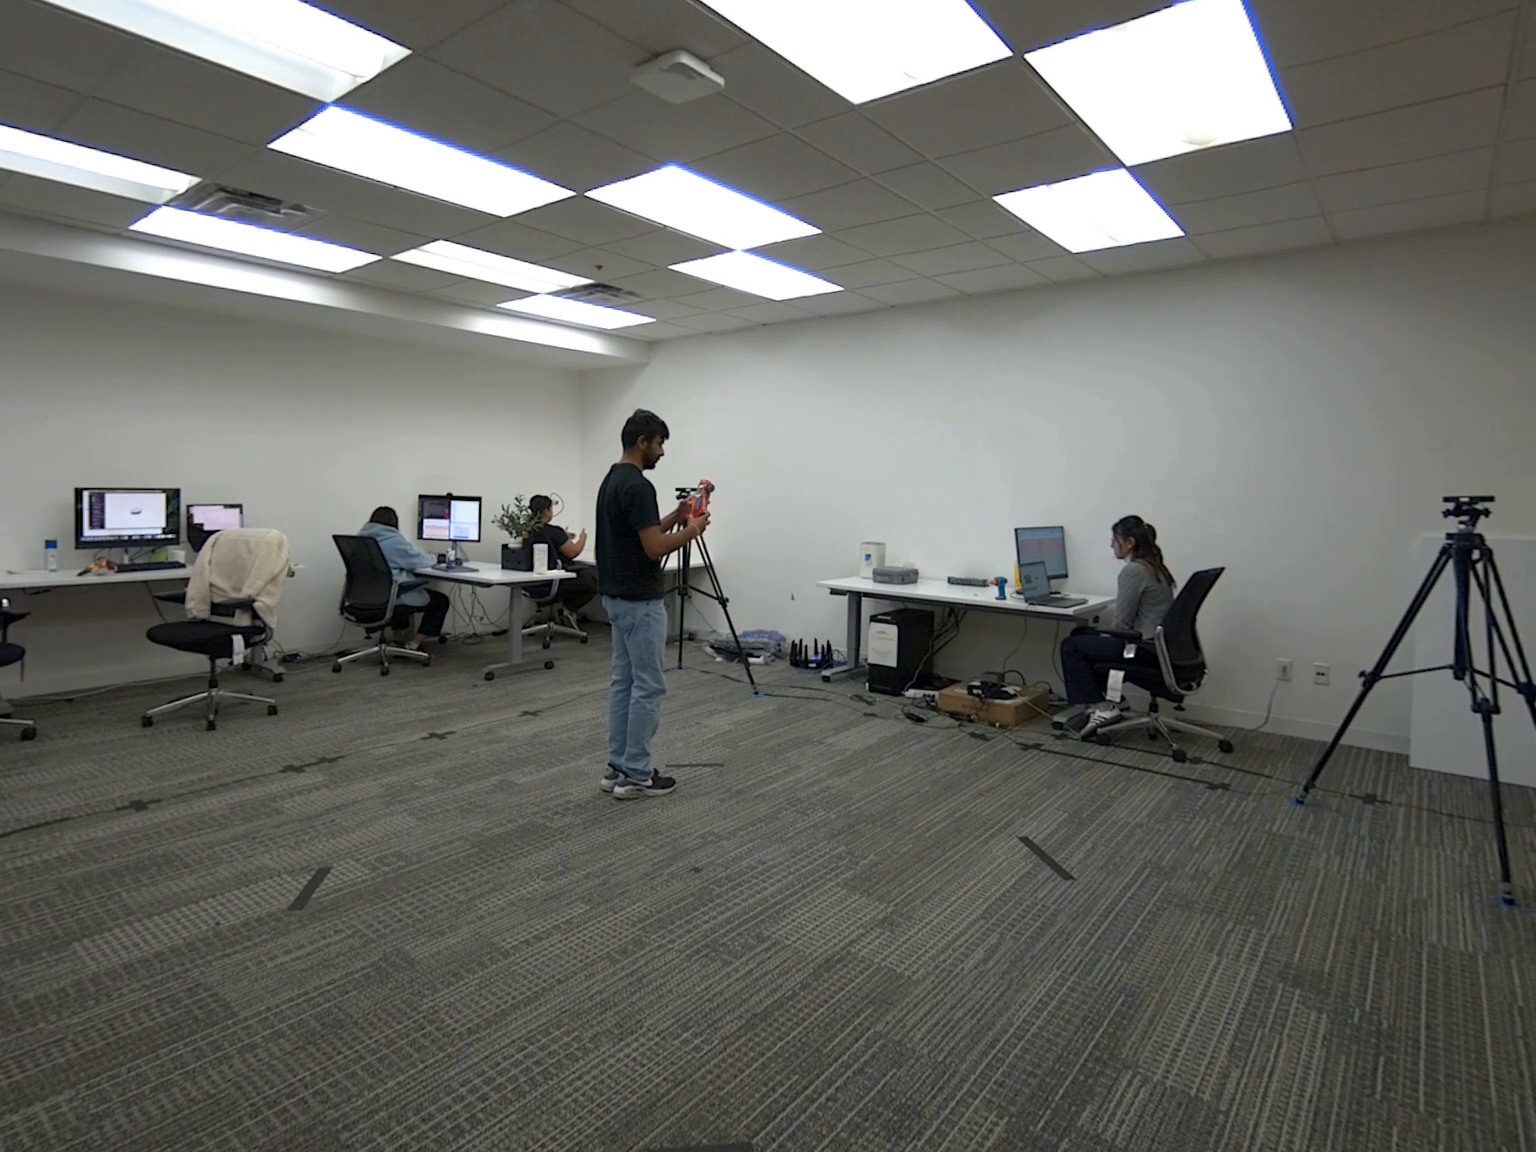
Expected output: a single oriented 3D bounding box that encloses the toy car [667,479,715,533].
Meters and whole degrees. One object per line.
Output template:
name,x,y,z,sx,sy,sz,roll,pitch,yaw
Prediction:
toy car,-0.335,-0.335,4.010,0.080,0.255,0.134,24,-5,-28
